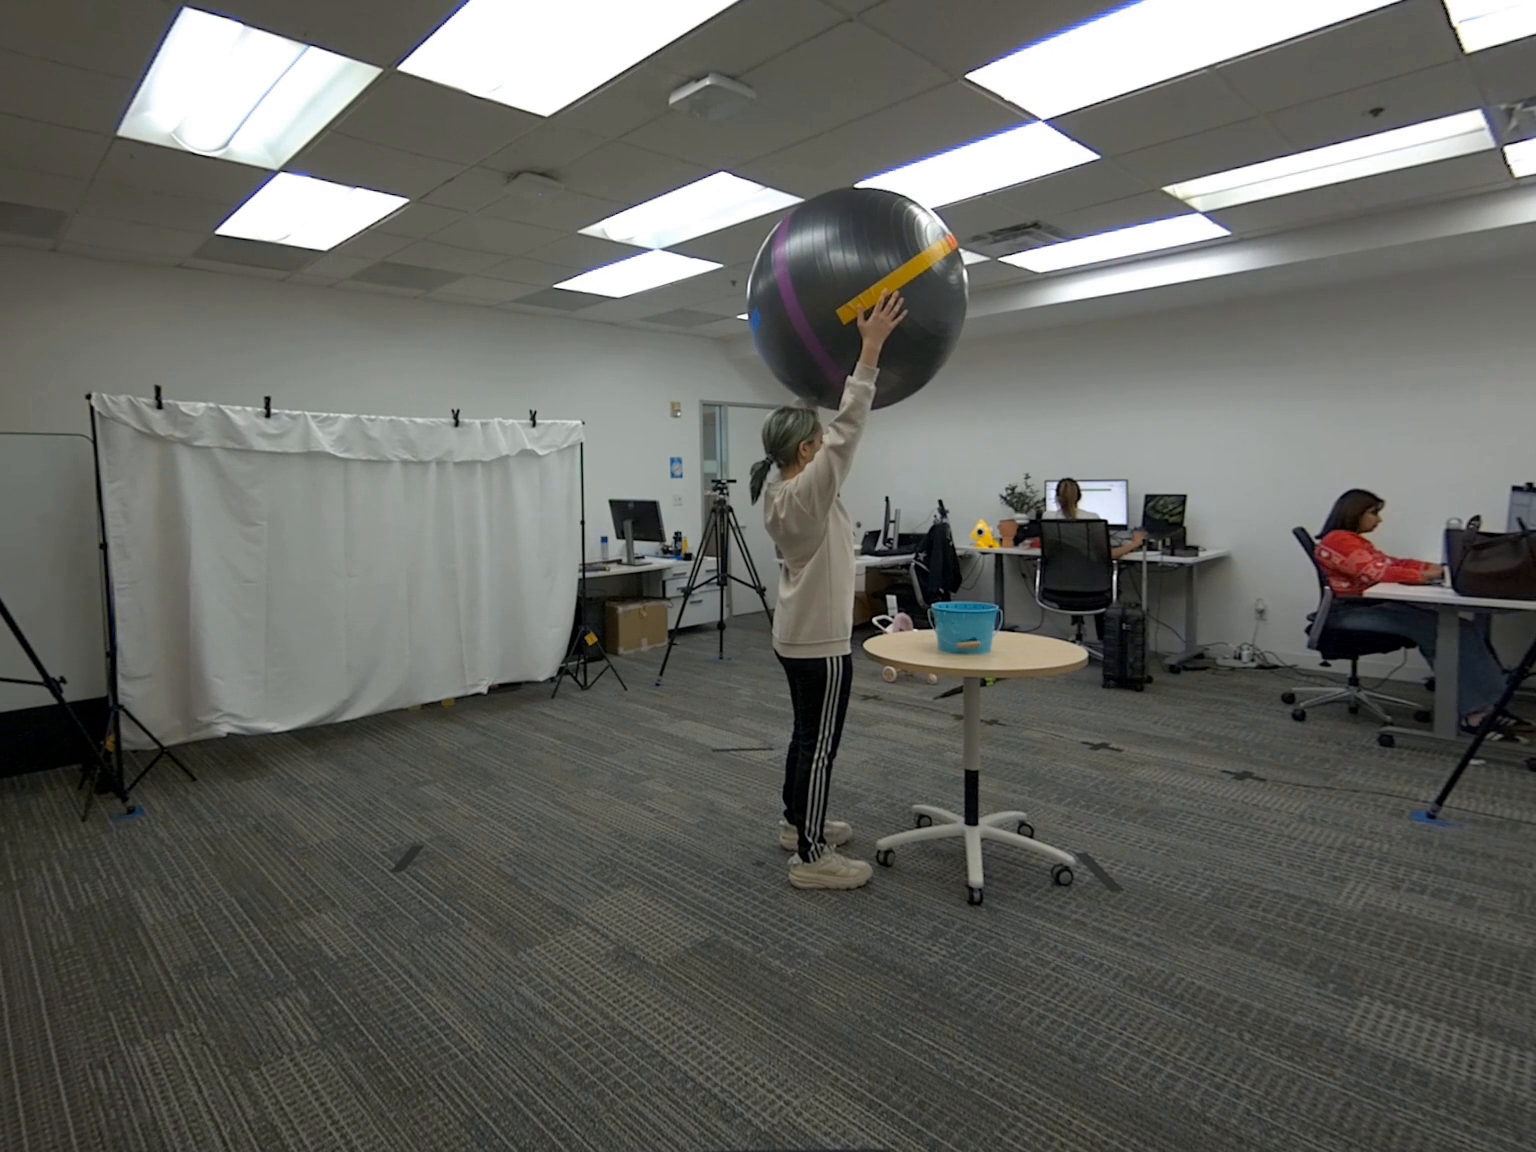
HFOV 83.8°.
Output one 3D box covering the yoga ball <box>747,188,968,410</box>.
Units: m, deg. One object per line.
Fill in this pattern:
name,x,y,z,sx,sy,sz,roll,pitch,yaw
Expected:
yoga ball,0.317,-0.944,2.974,0.757,0.755,0.762,-1,5,-2
